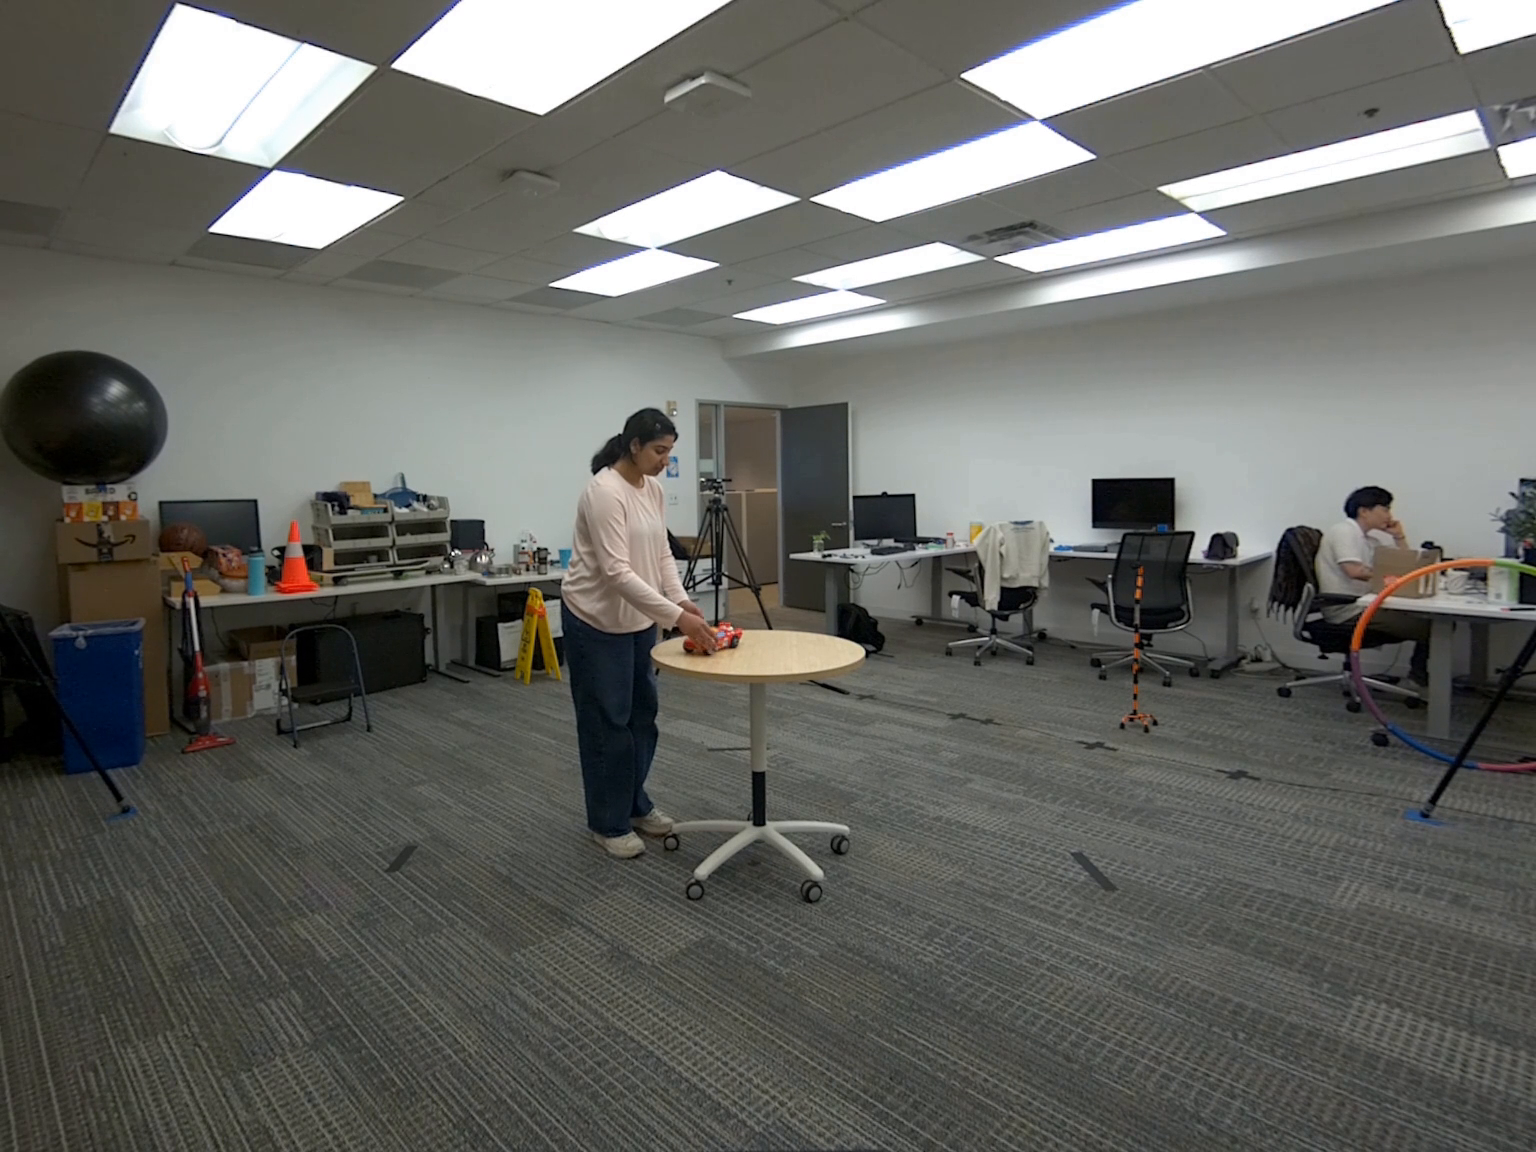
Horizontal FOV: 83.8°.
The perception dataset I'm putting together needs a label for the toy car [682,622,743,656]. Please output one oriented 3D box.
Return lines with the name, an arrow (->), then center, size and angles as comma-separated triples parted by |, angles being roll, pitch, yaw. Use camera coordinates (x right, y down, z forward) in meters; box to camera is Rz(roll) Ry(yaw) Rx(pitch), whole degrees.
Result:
toy car -> -0.187, 0.231, 3.086 | 0.134, 0.082, 0.251 | 5, 19, 34
